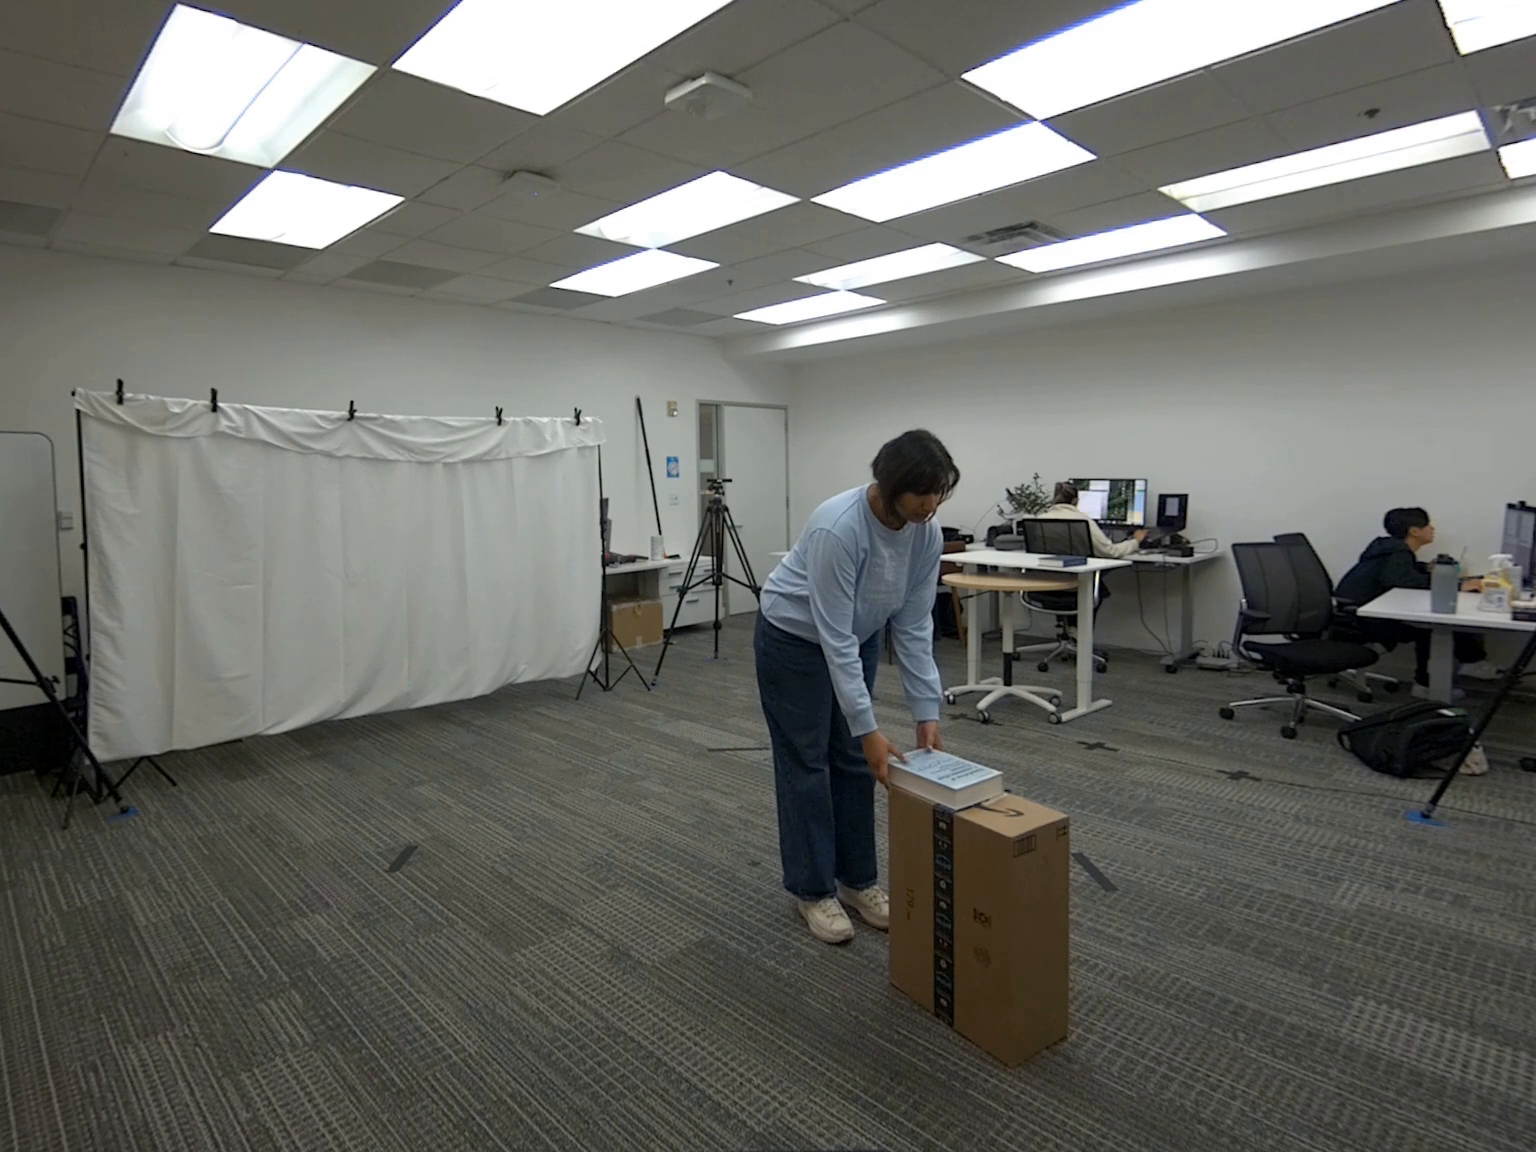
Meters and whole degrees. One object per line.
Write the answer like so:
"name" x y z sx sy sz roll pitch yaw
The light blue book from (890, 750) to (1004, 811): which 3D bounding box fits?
"light blue book" 0.464 0.535 2.289 0.187 0.059 0.269 -7 9 -34
